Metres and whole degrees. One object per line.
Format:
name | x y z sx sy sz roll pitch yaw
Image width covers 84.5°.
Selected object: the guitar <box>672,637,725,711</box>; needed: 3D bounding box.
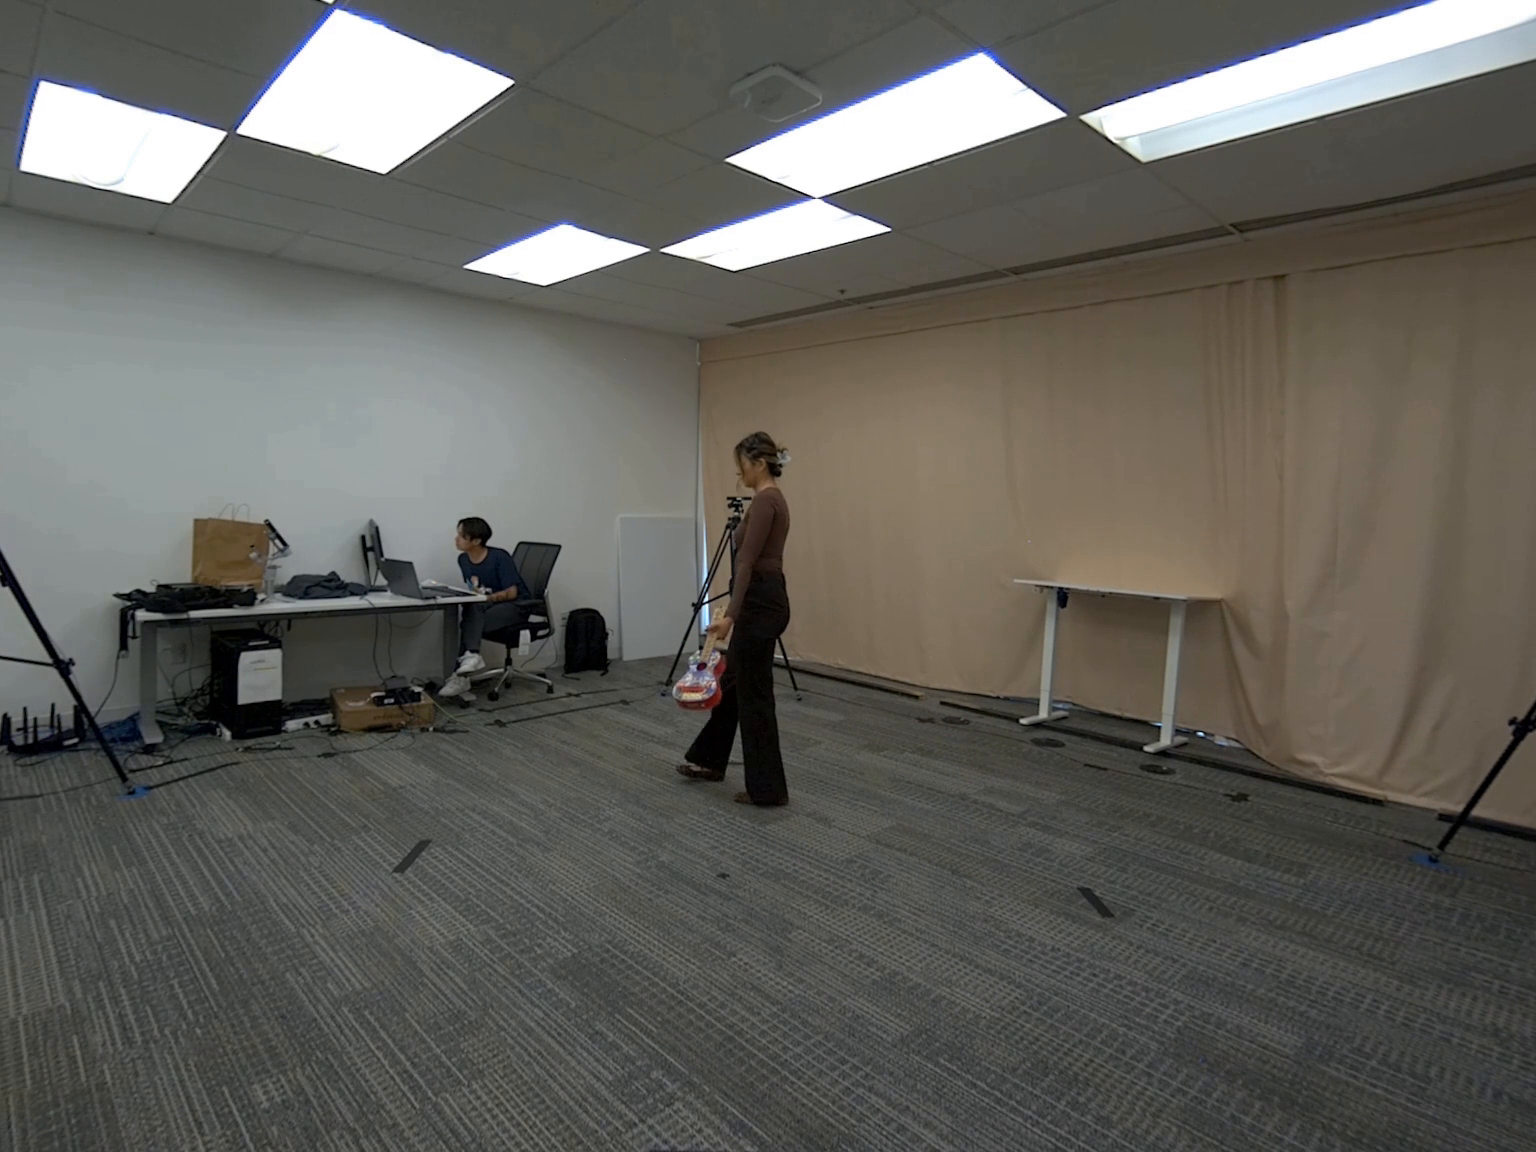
guitar | -0.220 0.337 3.496 0.197 0.068 0.502 1 46 30
